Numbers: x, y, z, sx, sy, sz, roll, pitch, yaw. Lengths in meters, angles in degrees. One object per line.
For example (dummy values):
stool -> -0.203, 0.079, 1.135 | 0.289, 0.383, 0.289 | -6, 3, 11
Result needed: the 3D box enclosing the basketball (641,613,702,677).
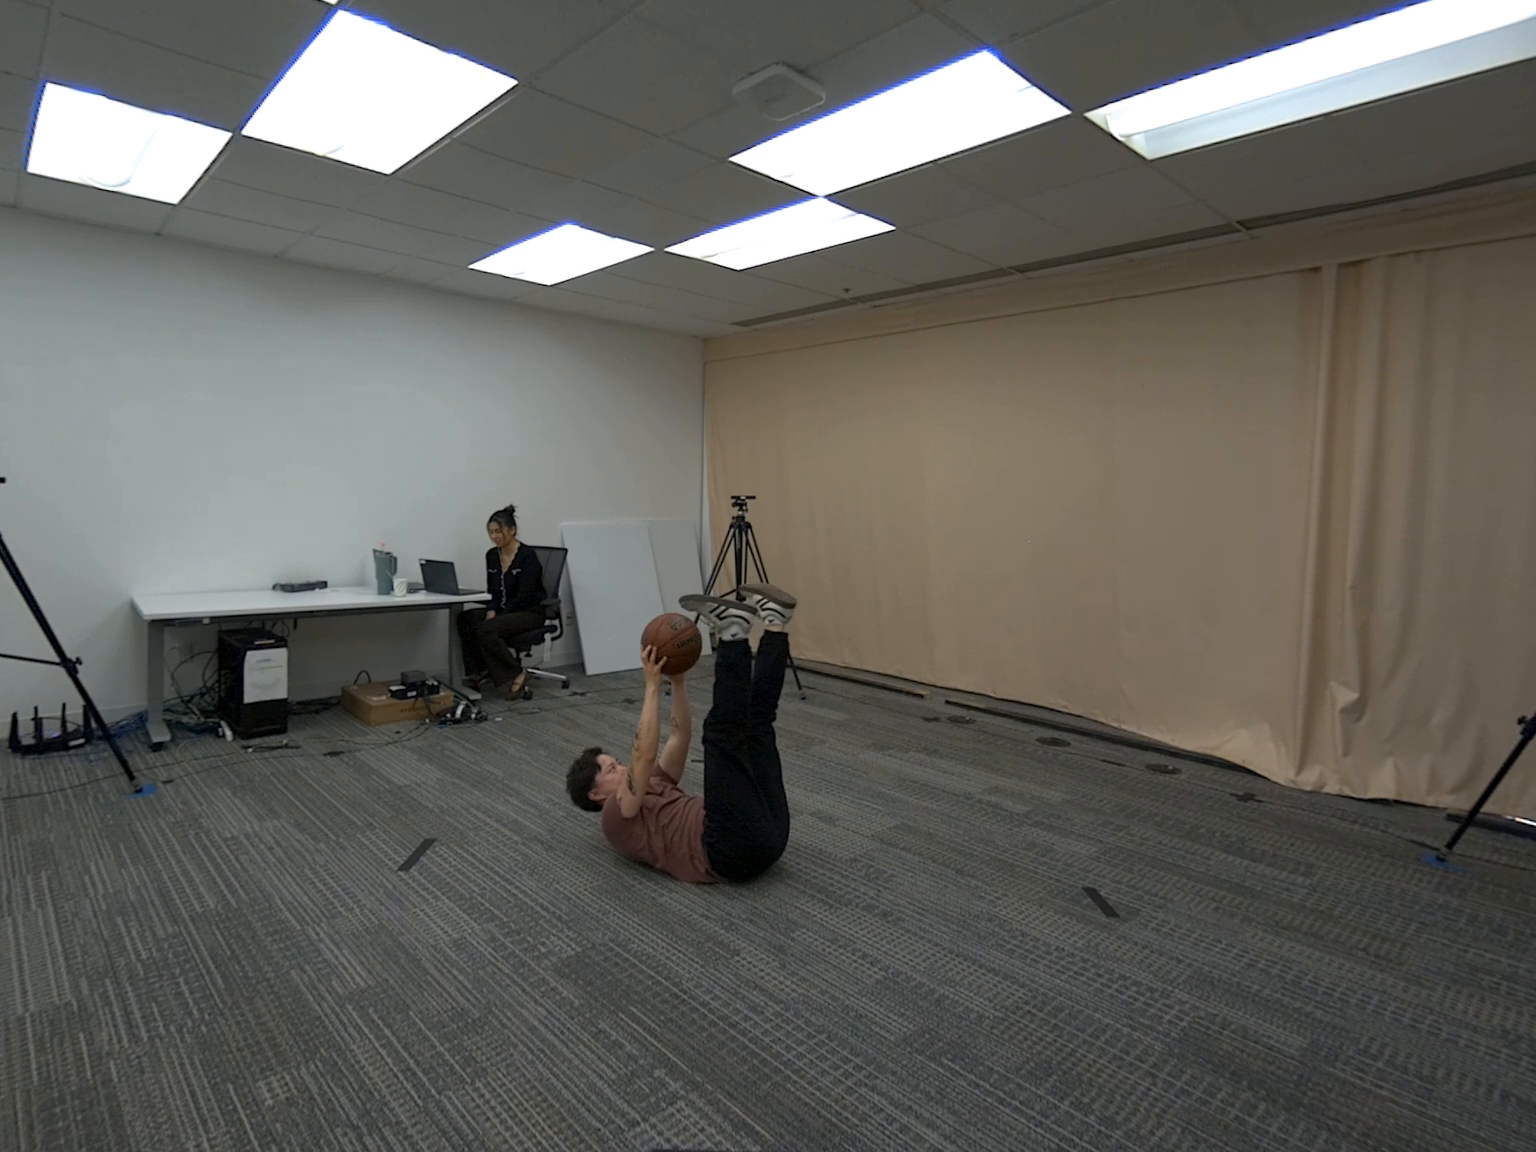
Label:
basketball -> -0.381, 0.266, 3.220 | 0.236, 0.234, 0.237 | 0, 8, -1
